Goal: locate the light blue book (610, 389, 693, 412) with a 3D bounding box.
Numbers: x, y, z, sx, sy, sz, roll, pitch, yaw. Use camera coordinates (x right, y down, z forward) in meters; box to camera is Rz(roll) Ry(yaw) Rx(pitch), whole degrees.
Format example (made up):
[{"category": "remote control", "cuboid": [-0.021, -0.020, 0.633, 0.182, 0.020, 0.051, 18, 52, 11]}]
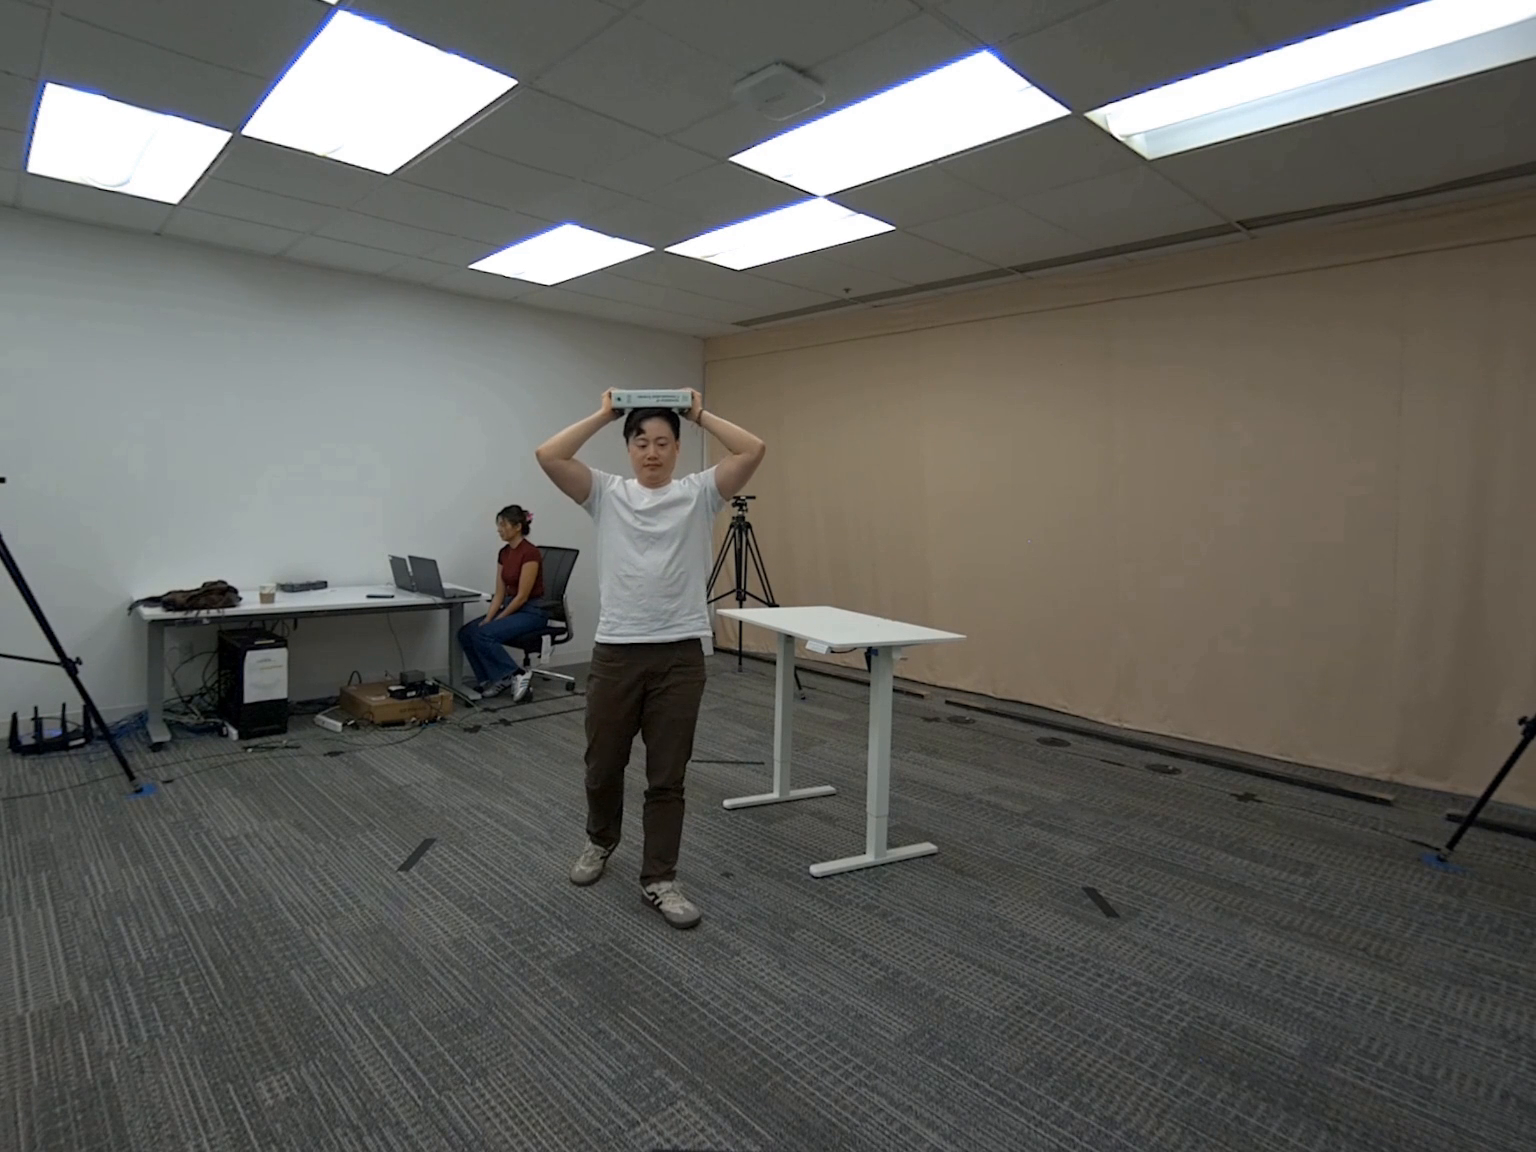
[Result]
[{"category": "light blue book", "cuboid": [-0.405, -0.587, 2.835, 0.260, 0.059, 0.193, -2, 4, -6]}]
